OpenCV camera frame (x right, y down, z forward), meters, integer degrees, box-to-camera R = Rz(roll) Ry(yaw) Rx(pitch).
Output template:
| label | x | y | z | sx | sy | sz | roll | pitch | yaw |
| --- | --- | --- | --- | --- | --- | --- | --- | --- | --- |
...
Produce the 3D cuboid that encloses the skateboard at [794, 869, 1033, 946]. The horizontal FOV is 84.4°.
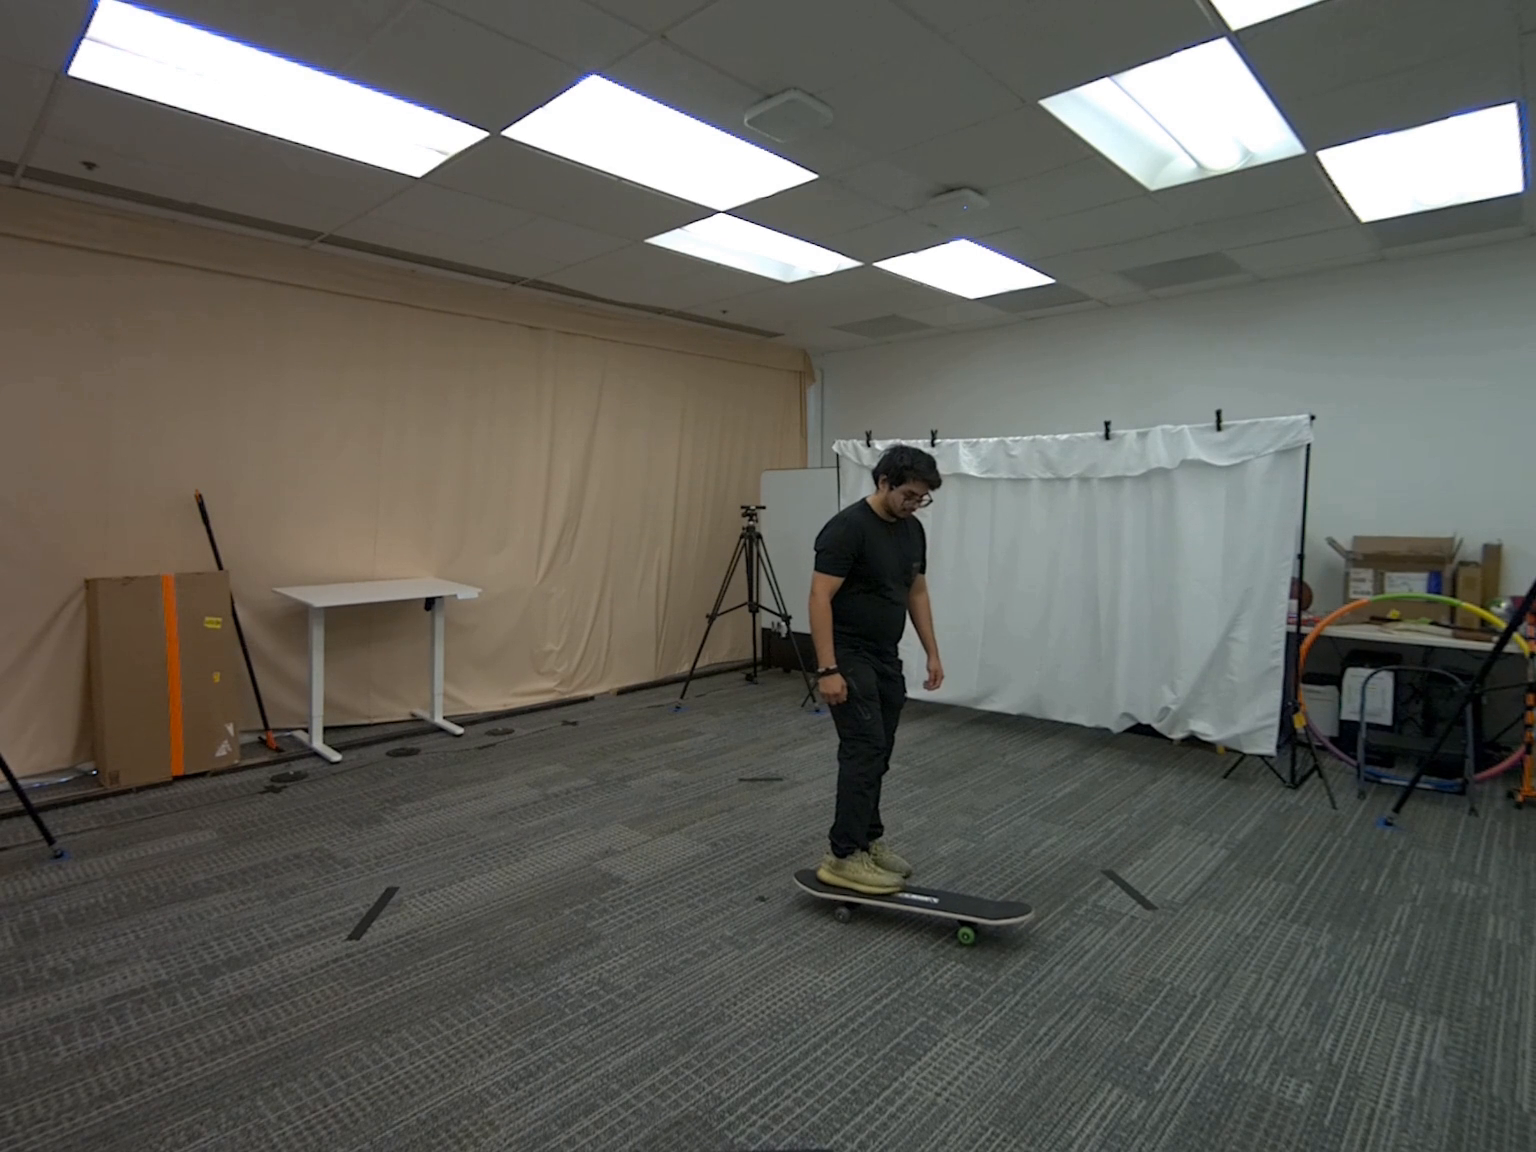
| label | x | y | z | sx | sy | sz | roll | pitch | yaw |
| --- | --- | --- | --- | --- | --- | --- | --- | --- | --- |
| skateboard | 0.477 | 1.101 | 2.802 | 0.803 | 0.110 | 0.189 | 0 | 0 | 22 |
